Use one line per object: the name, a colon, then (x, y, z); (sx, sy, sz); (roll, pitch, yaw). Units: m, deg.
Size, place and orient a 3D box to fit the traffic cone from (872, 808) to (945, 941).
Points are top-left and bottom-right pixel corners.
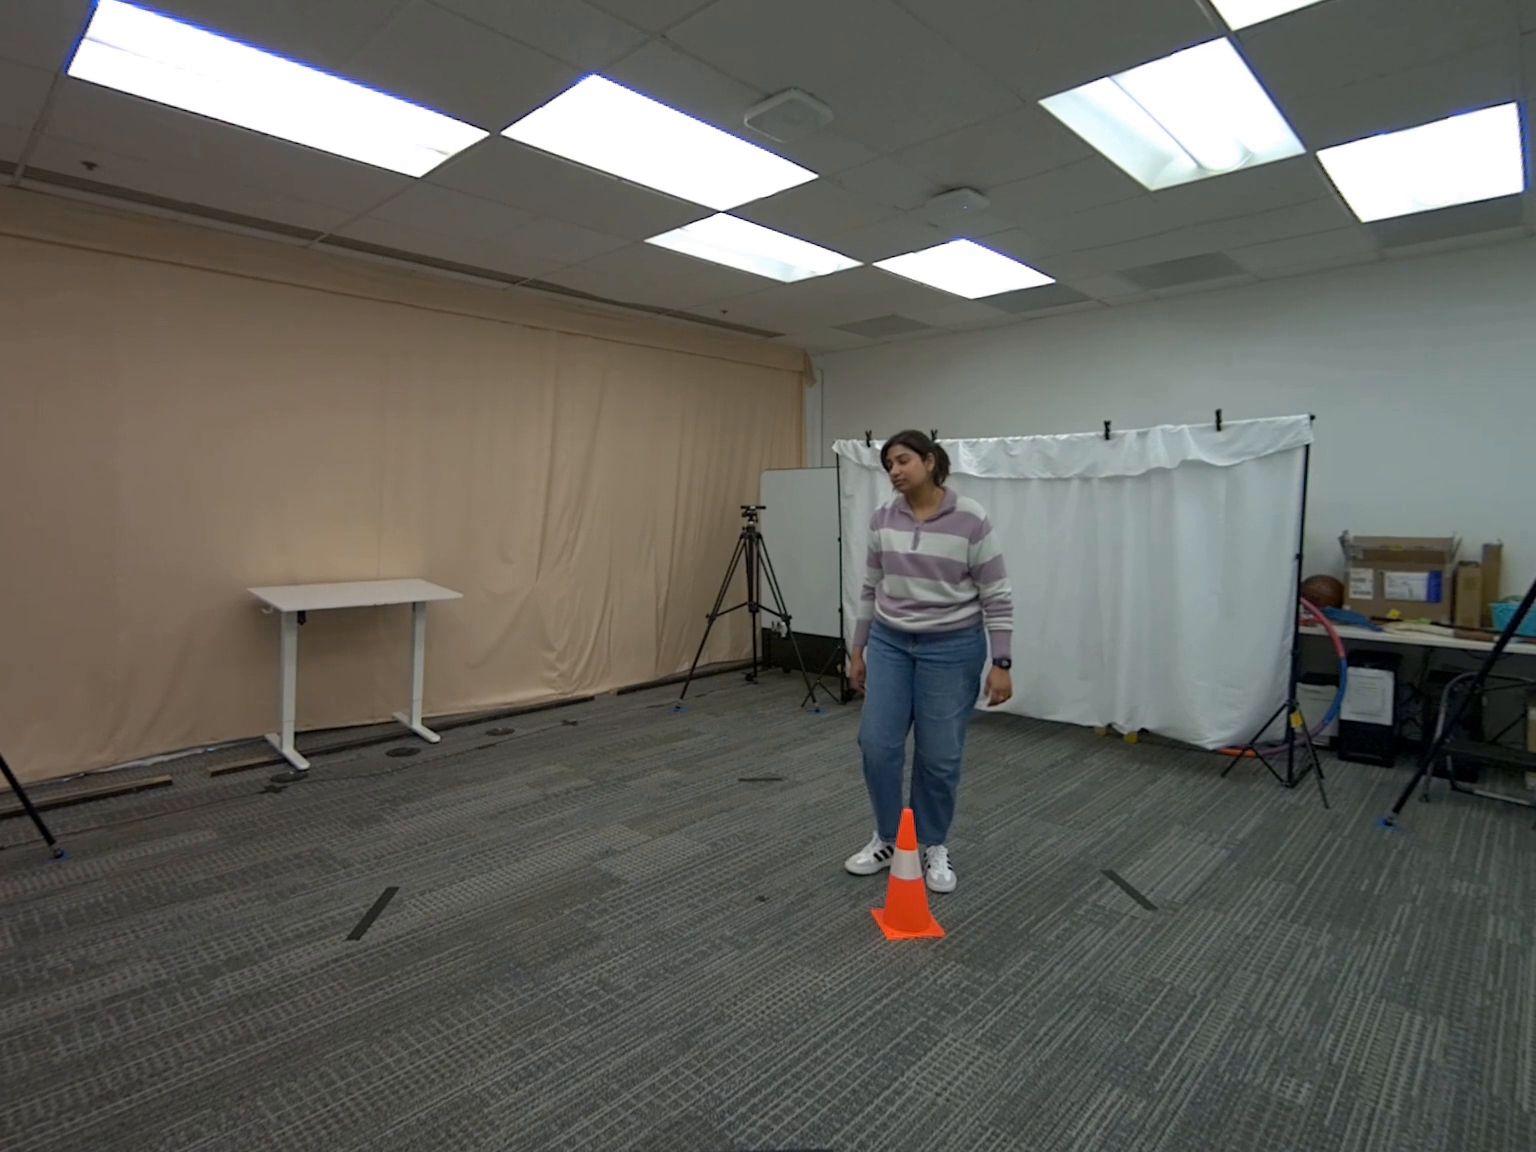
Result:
traffic cone: (0.462, 0.966, 2.801); (0.201, 0.383, 0.208); (-3, 4, -12)
